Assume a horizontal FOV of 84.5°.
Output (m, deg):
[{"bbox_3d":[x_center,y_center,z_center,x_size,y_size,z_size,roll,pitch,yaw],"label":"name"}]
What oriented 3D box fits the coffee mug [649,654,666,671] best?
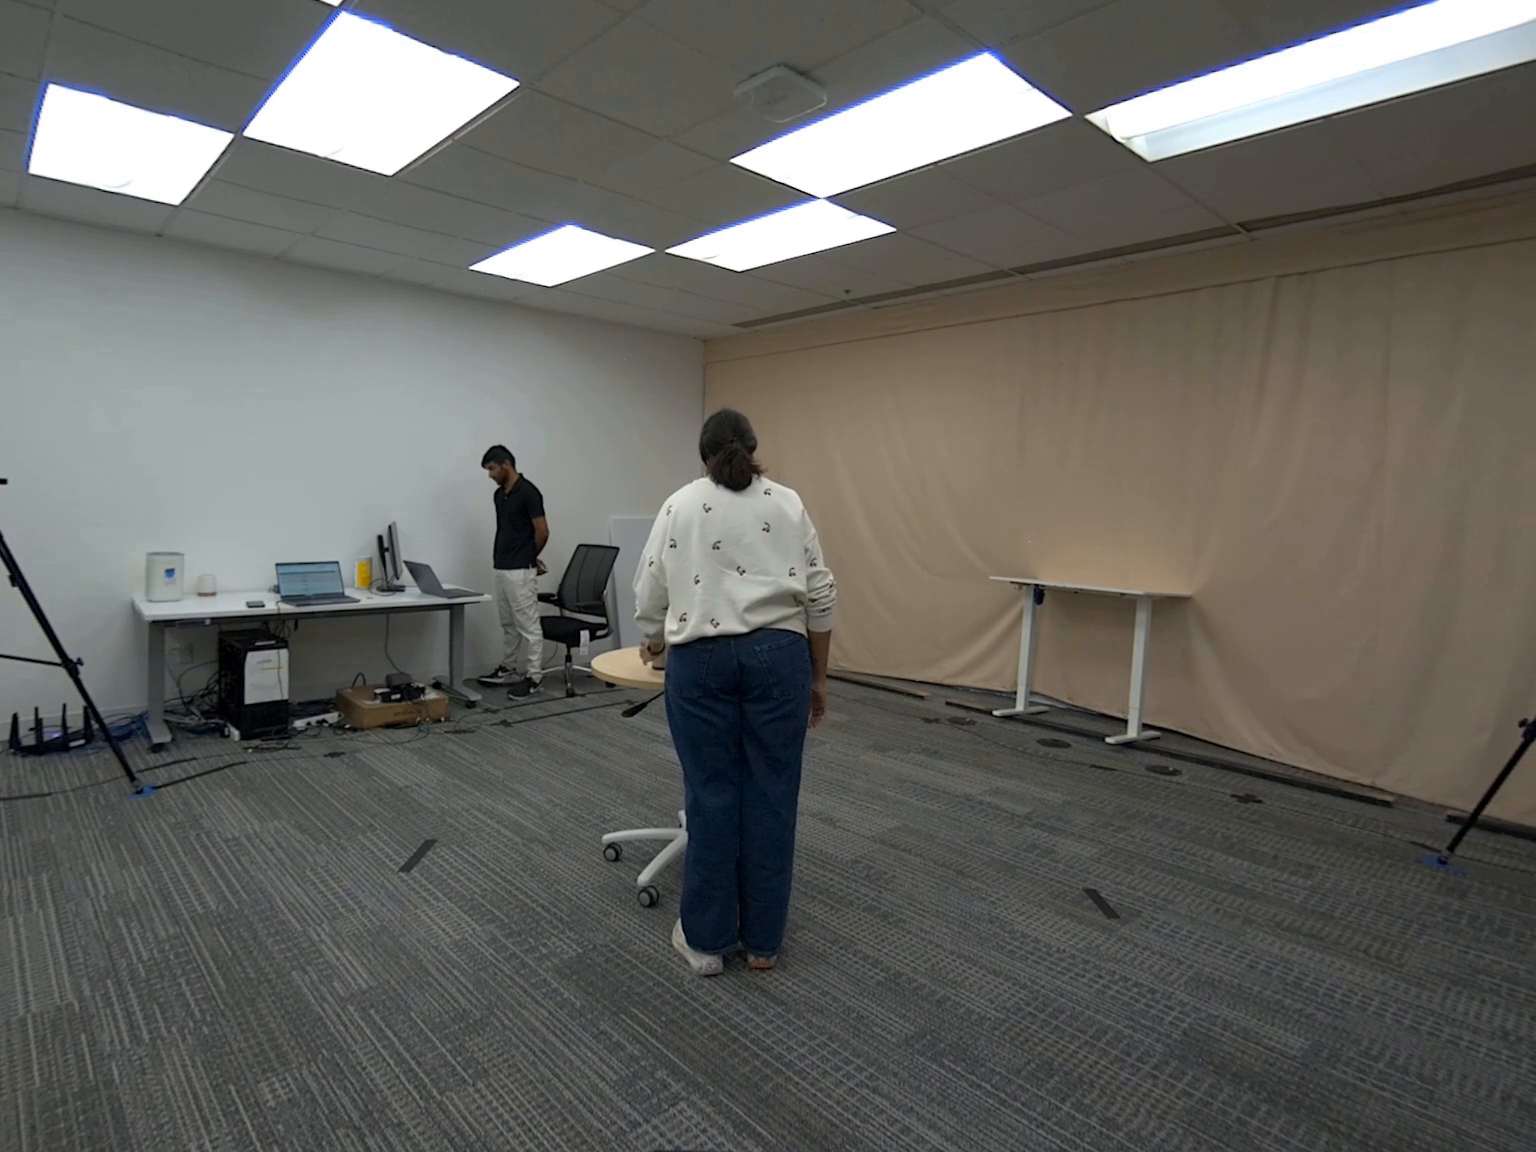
[{"bbox_3d":[-0.368,0.234,2.995,0.090,0.202,0.120,0,6,35],"label":"coffee mug"}]
